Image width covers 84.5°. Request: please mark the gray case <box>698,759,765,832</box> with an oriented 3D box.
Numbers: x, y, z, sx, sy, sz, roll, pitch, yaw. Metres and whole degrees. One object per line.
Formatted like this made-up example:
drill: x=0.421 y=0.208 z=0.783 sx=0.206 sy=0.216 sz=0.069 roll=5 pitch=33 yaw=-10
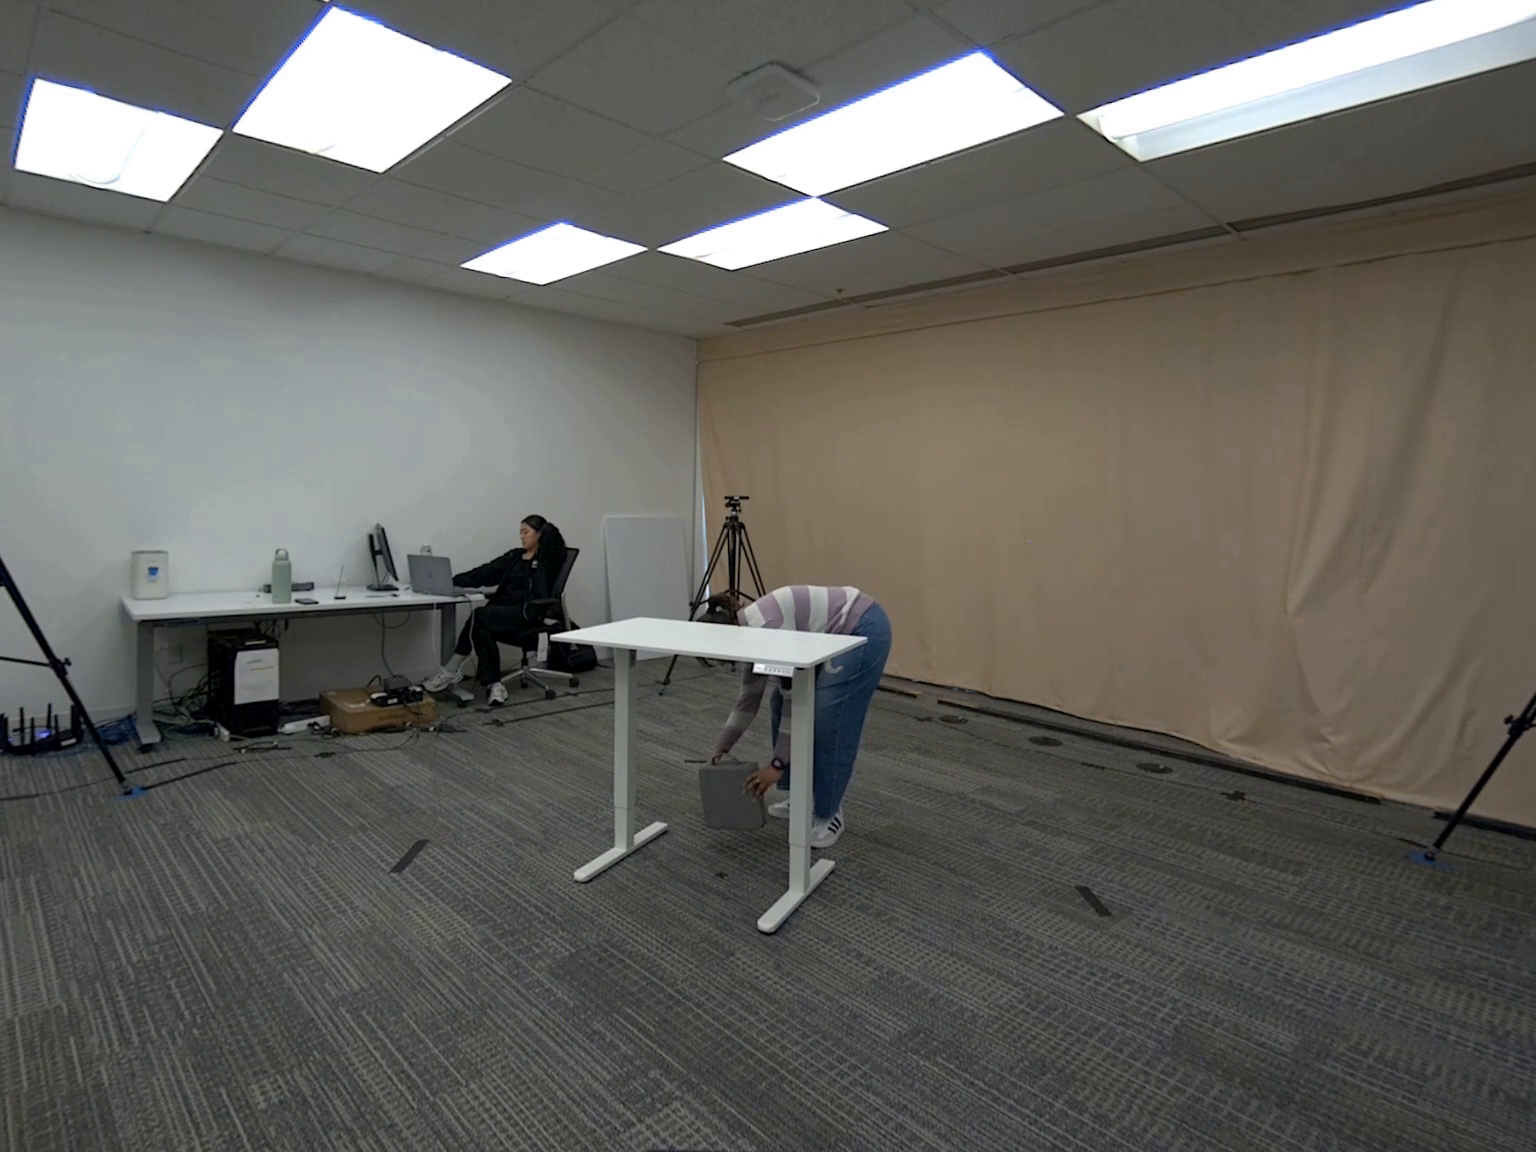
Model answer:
gray case: x=-0.146 y=0.866 z=3.321 sx=0.261 sy=0.261 sz=0.102 roll=-9 pitch=-4 yaw=31
